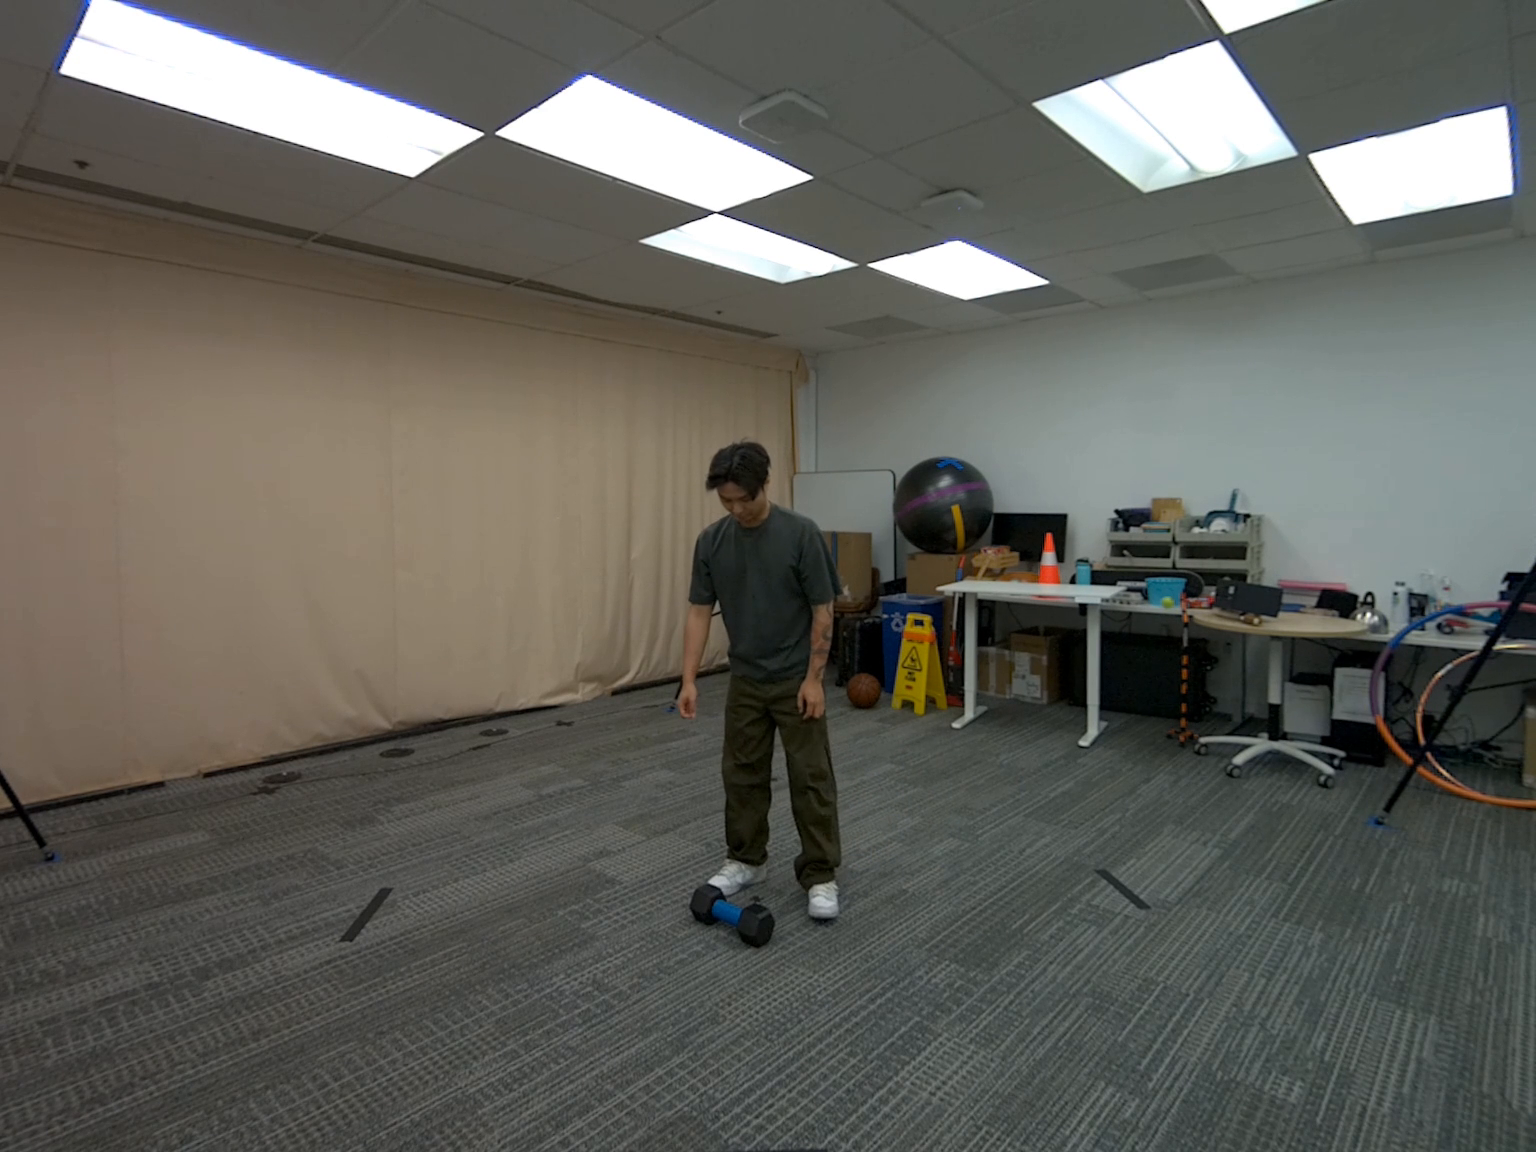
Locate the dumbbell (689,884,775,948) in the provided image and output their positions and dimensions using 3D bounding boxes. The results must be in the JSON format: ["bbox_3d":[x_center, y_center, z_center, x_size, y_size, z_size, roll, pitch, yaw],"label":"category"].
[{"bbox_3d":[-0.118,1.108,2.758,0.303,0.120,0.107,5,37,42],"label":"dumbbell"}]
